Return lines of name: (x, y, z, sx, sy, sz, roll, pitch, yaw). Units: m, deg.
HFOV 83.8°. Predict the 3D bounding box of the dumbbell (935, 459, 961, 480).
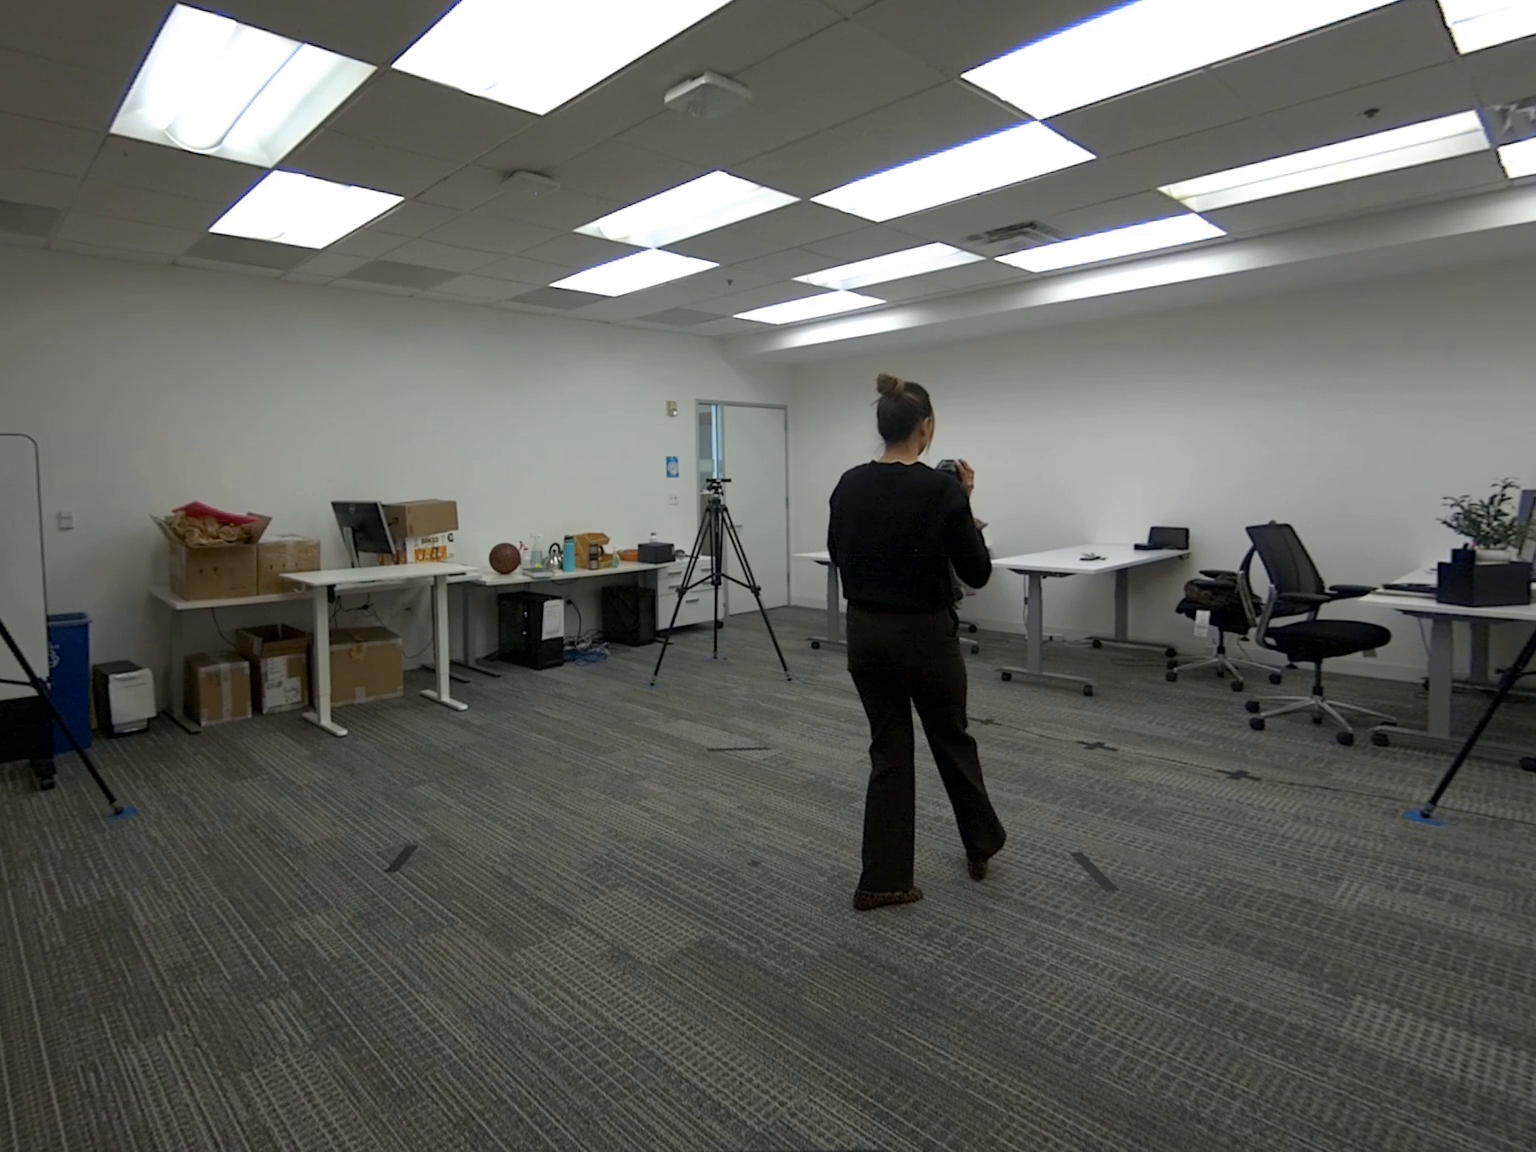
dumbbell: (0.487, -0.324, 2.839, 0.303, 0.106, 0.122, 8, 40, 46)
